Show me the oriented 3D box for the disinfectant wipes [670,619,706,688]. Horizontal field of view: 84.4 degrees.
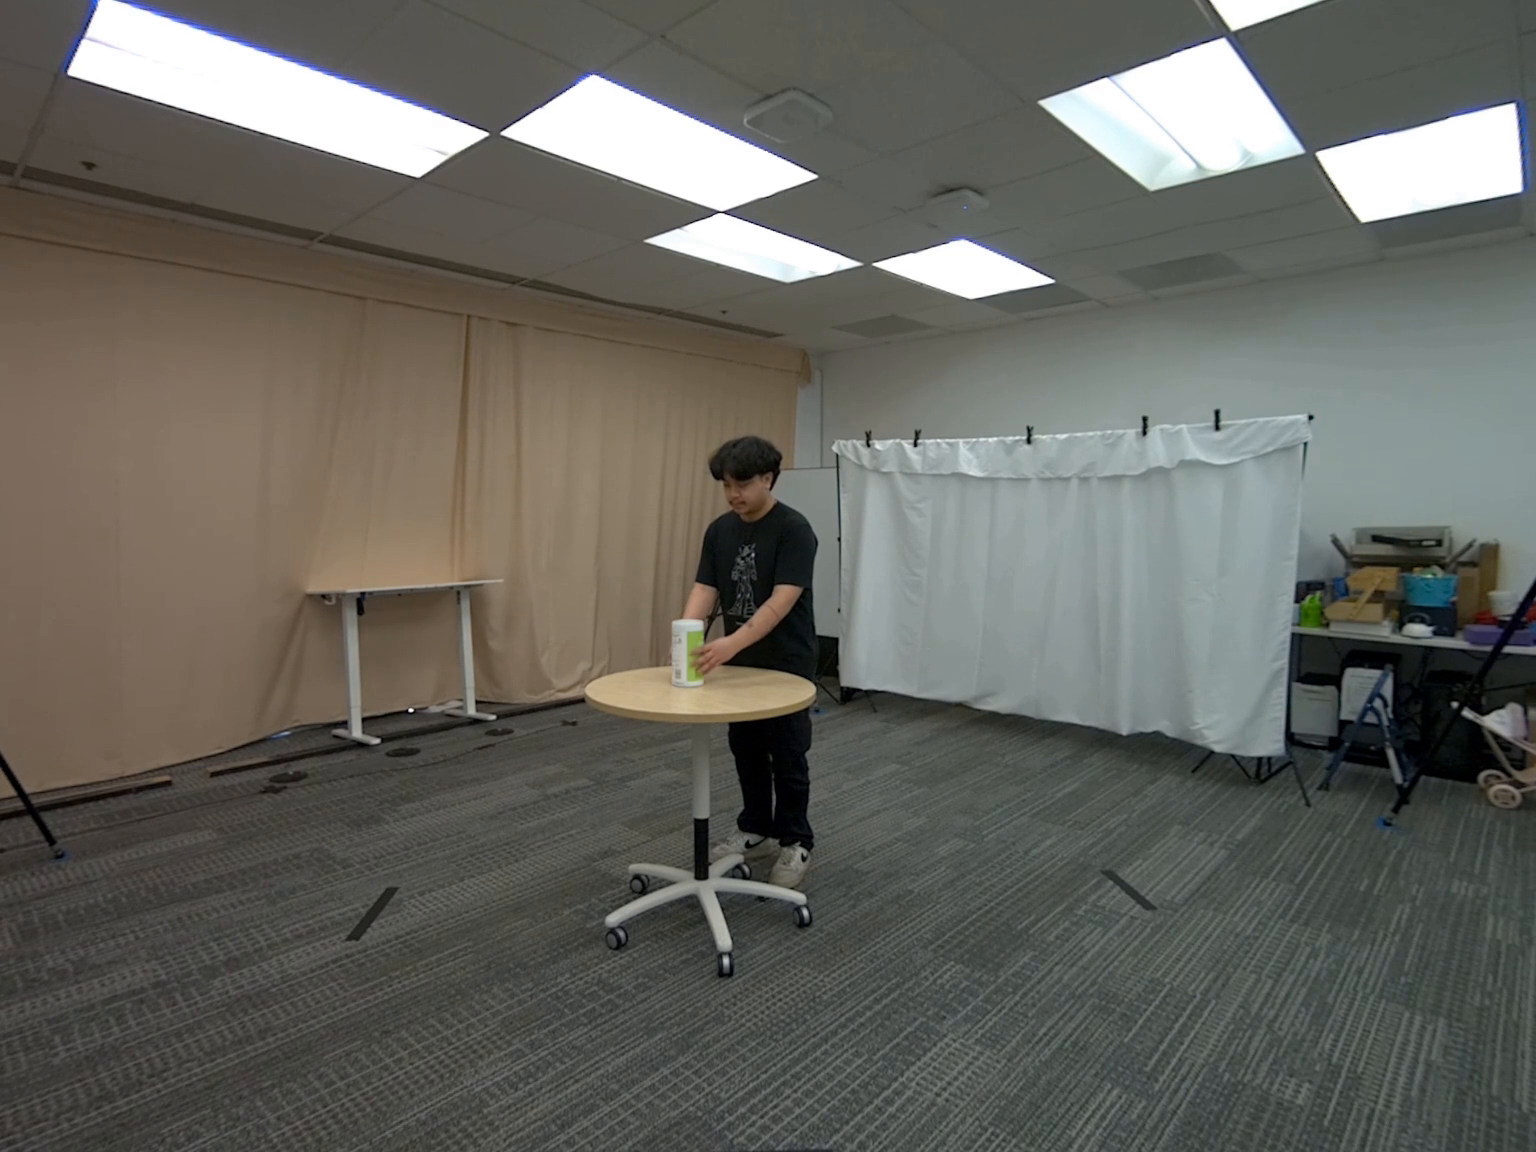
[{"bbox_3d":[-0.268,0.262,2.836,0.118,0.217,0.118,-1,4,-2],"label":"disinfectant wipes"}]
